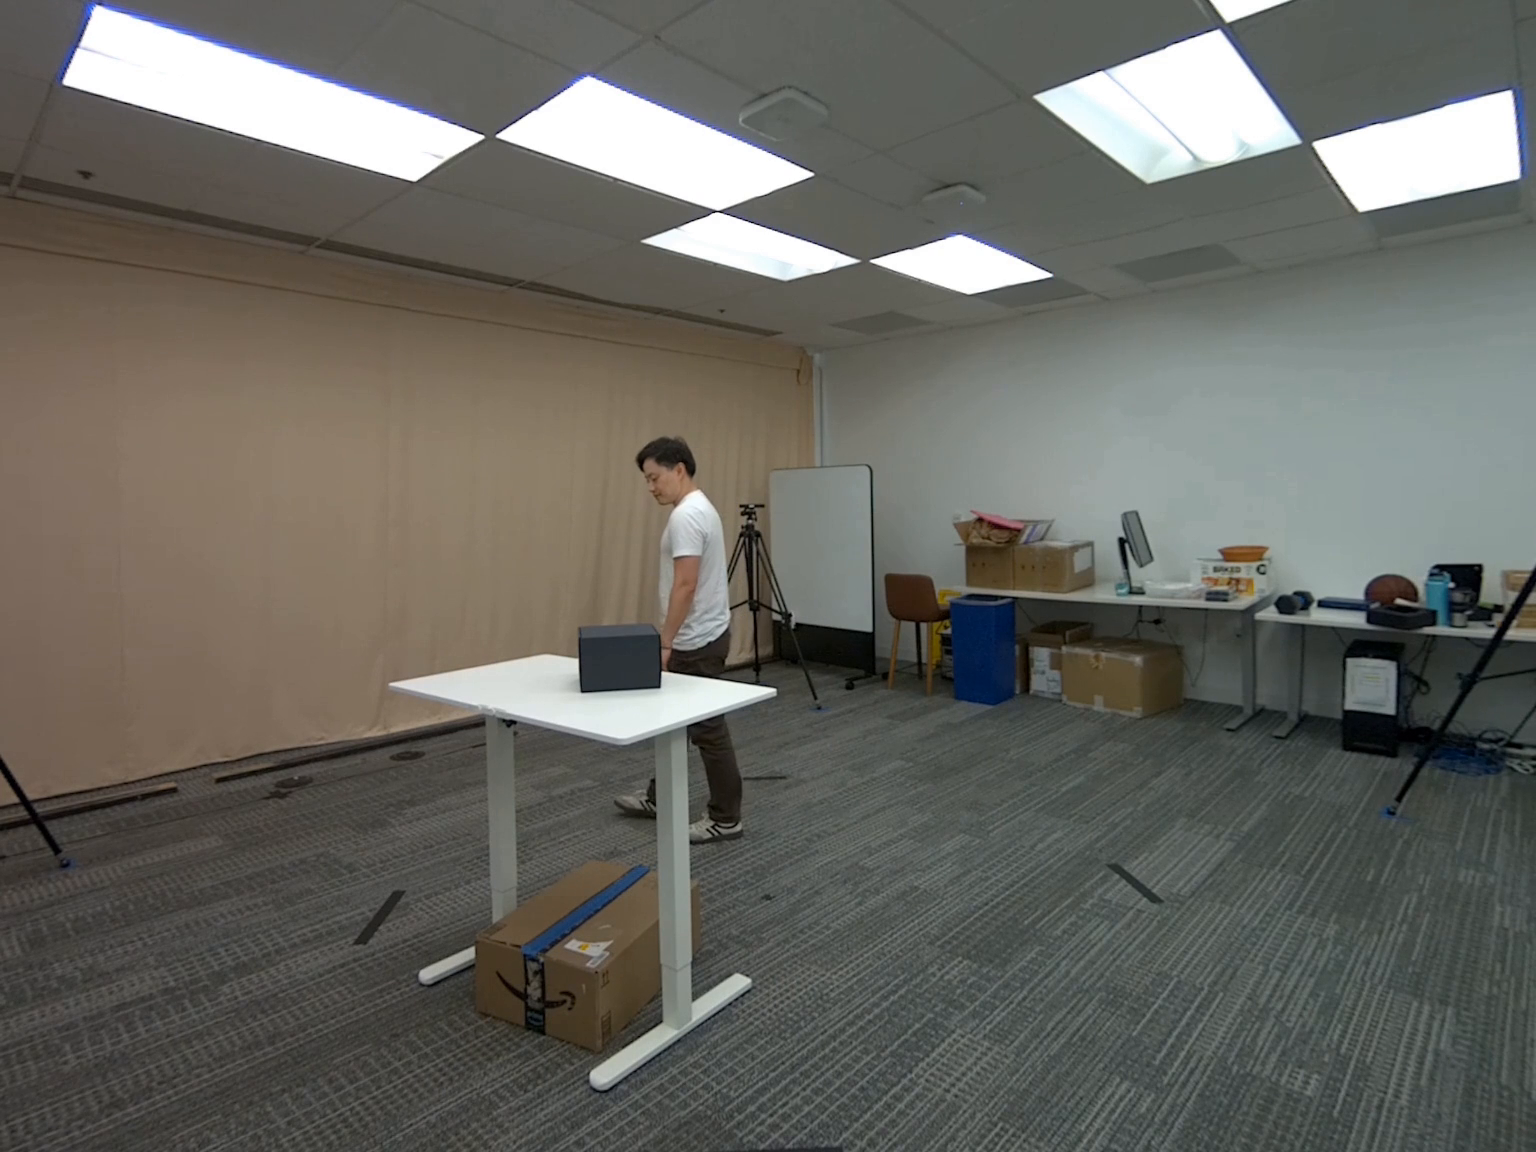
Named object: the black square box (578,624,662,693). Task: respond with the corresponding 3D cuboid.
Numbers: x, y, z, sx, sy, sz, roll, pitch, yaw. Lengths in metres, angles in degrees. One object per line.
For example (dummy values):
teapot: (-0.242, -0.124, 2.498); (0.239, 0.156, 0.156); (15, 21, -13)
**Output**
black square box: (-0.435, 0.232, 2.448); (0.225, 0.155, 0.220); (-2, 5, -14)
